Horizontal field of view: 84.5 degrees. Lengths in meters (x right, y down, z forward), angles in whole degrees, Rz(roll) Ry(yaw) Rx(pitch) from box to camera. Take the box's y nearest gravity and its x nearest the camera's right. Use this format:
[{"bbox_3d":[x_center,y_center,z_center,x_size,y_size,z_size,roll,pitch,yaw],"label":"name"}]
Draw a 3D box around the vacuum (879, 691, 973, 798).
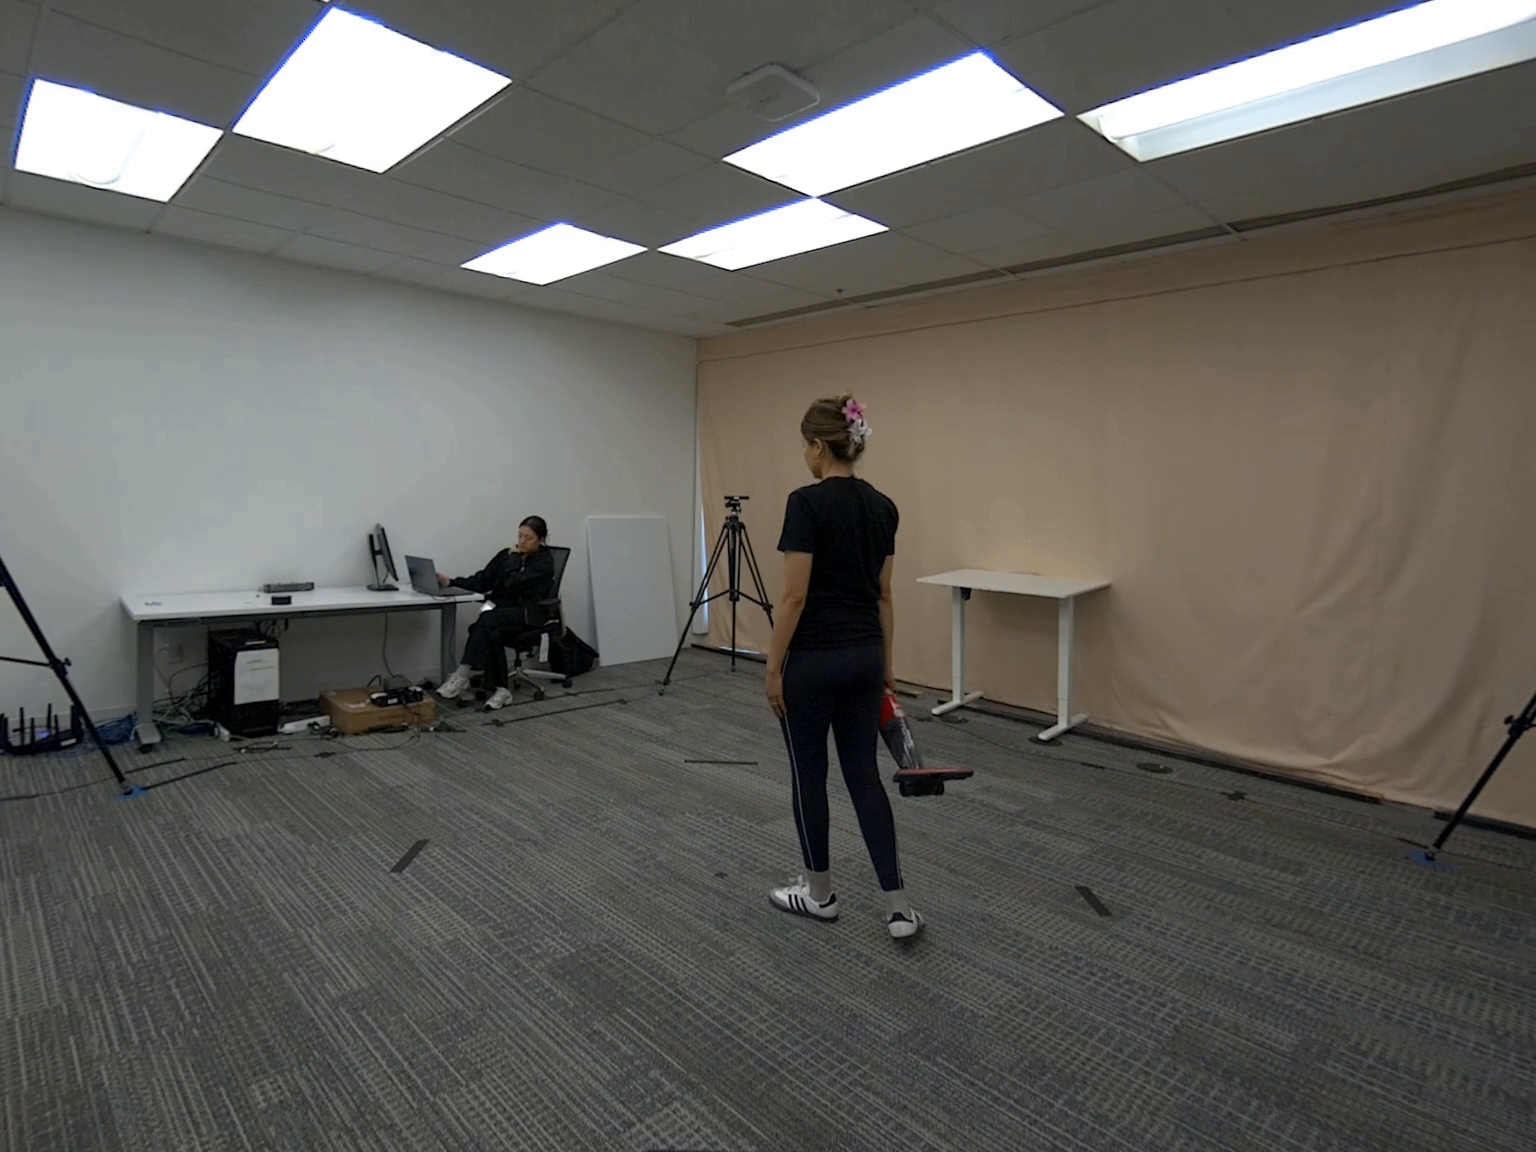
[{"bbox_3d":[0.384,0.382,3.024,0.250,0.141,1.078,-4,32,-13],"label":"vacuum"}]
